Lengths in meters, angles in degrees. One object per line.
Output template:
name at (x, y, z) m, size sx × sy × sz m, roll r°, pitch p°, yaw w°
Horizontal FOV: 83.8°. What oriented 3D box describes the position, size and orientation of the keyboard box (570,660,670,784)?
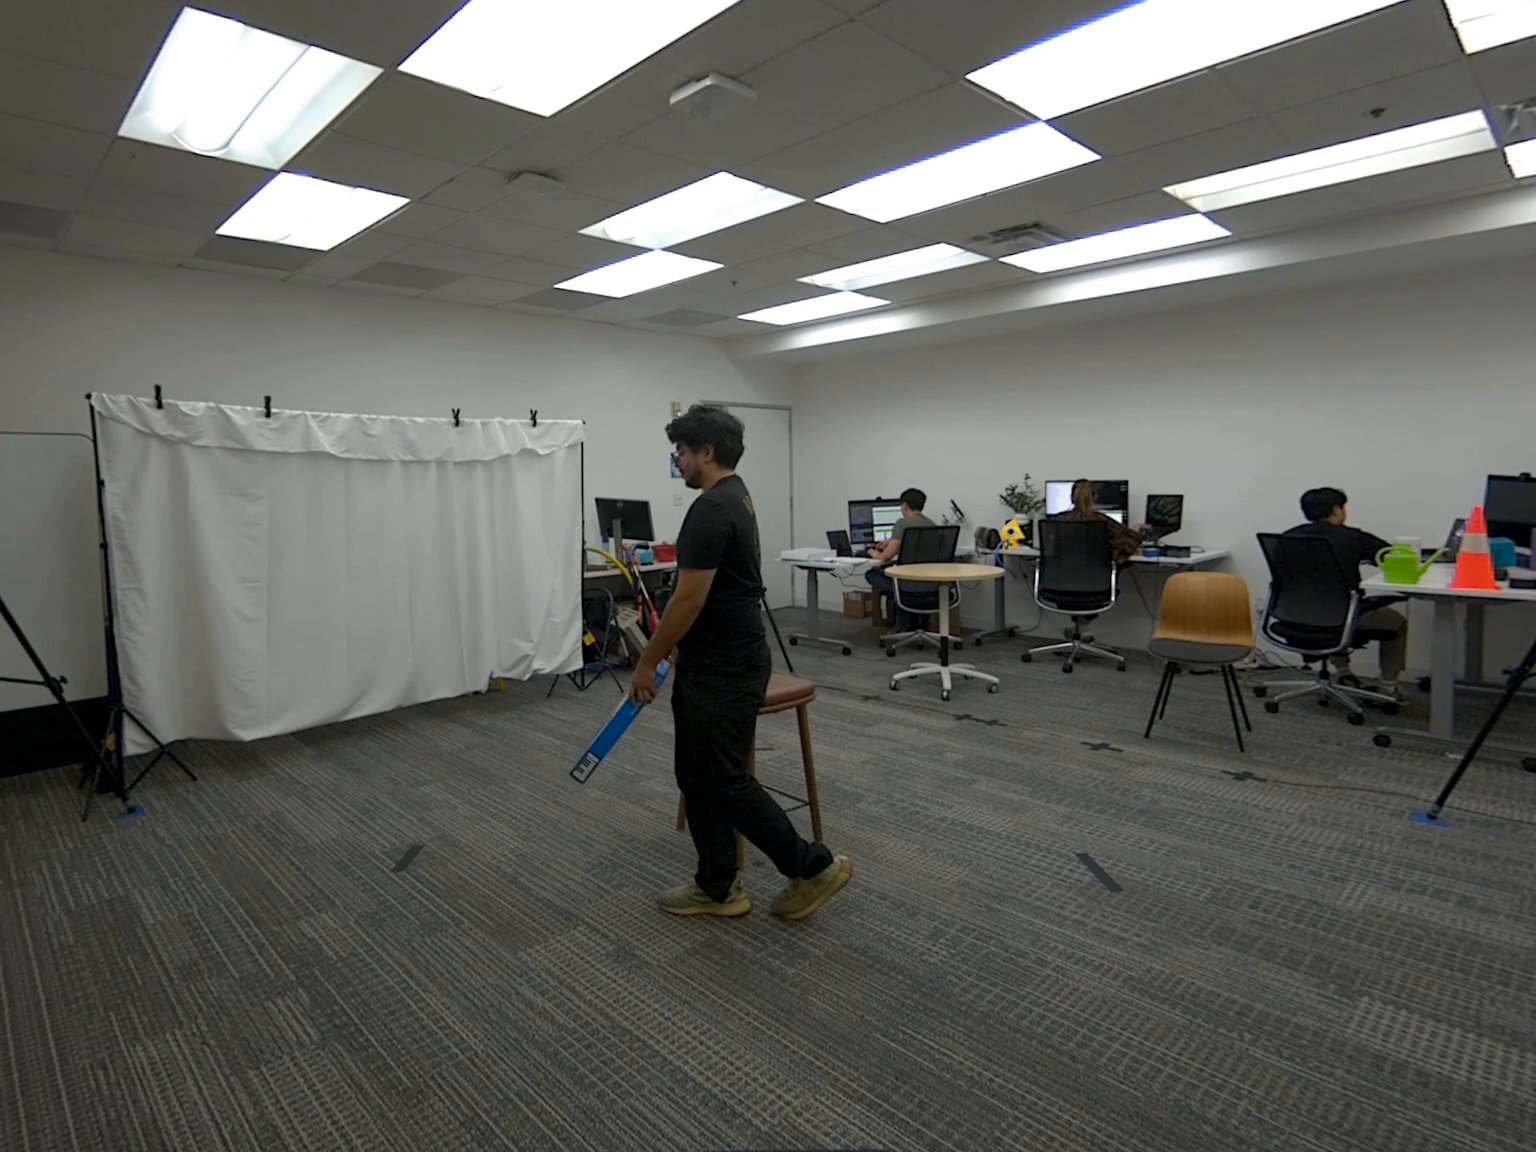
keyboard box at (-0.472, 0.466, 2.745) m, size 0.059 × 0.436 × 0.177 m, roll 38°, pitch 12°, yaw -6°
